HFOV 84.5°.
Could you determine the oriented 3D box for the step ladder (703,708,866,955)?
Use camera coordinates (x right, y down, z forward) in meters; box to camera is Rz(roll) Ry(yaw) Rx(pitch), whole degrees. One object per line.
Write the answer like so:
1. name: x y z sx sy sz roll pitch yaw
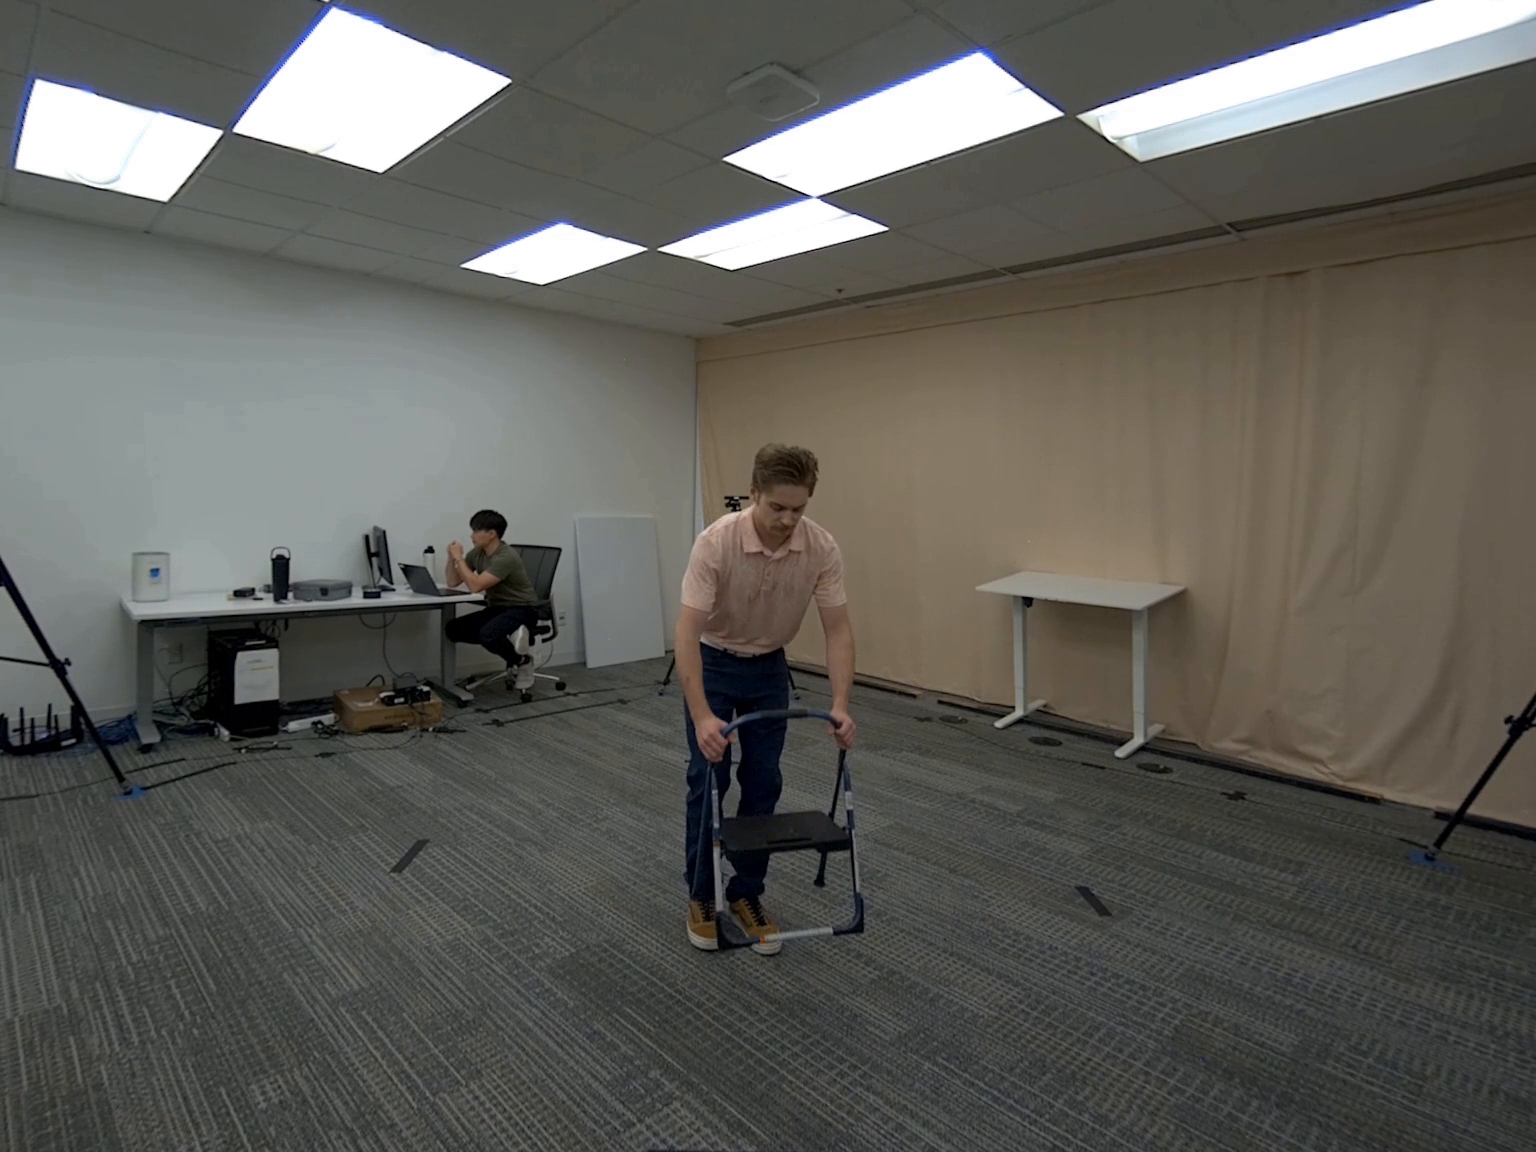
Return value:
1. step ladder: 0.014 0.678 2.407 0.425 0.605 0.354 0 2 -17
